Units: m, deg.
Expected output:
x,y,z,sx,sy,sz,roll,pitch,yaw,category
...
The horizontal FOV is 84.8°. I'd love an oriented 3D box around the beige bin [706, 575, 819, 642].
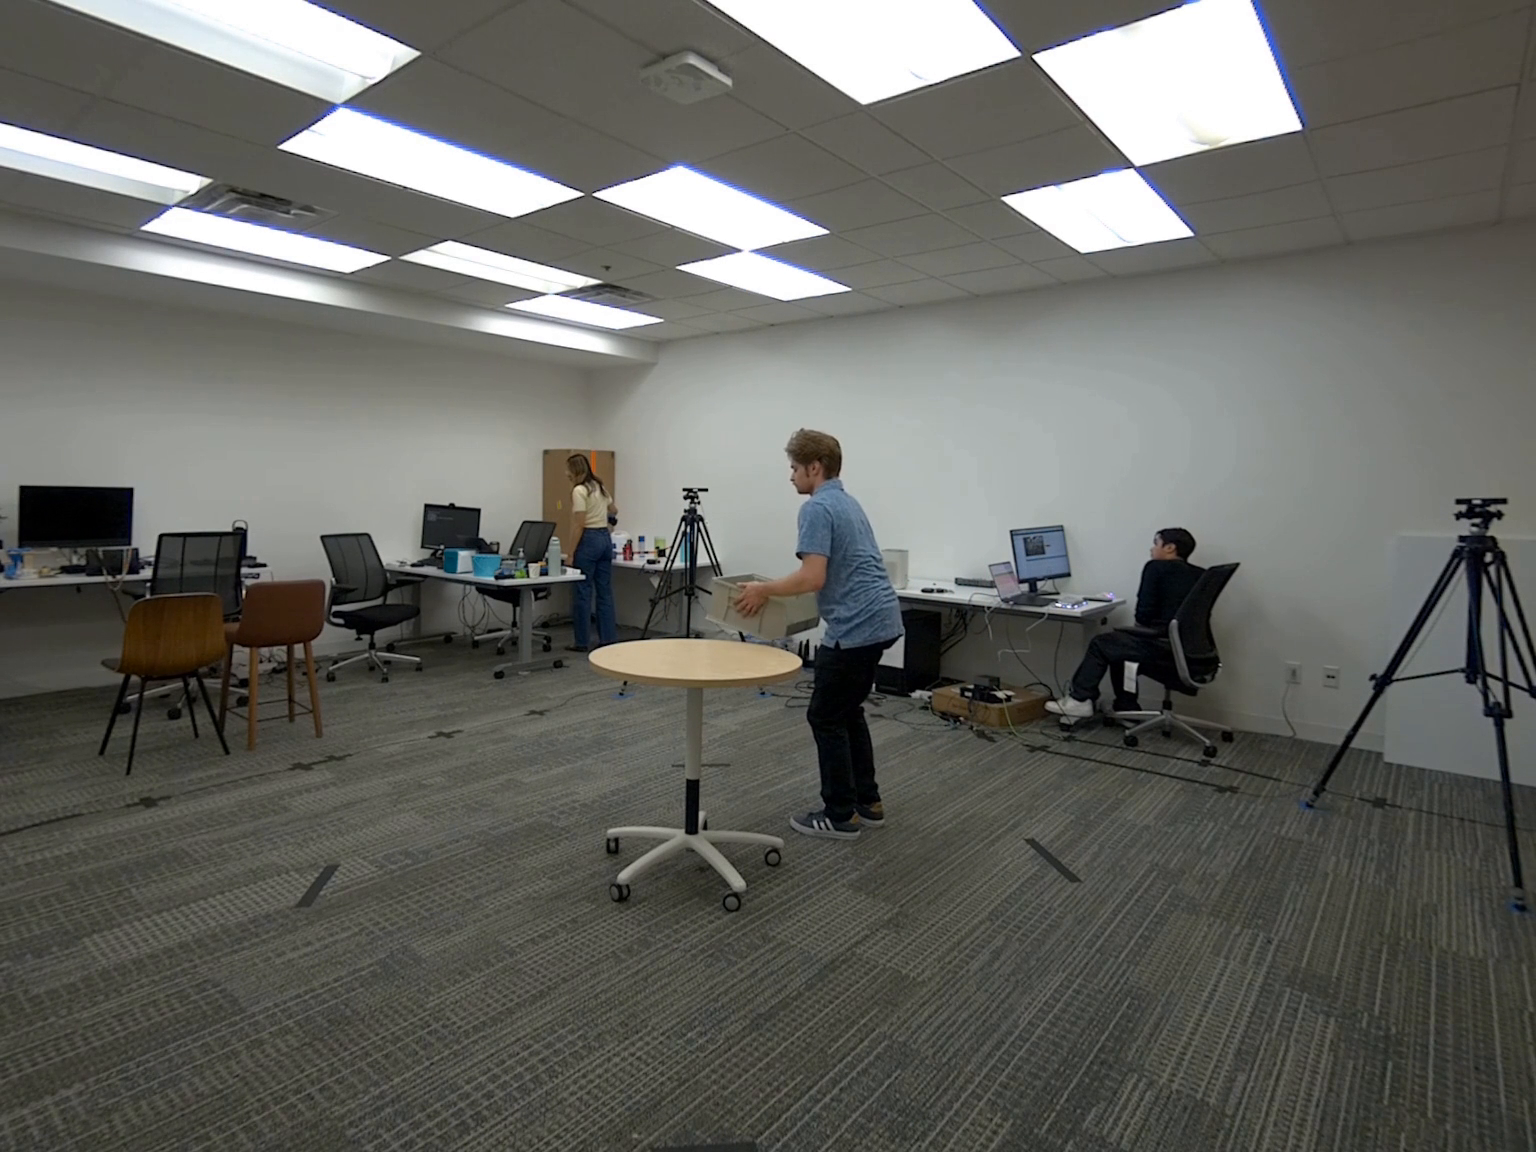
x,y,z,sx,sy,sz,roll,pitch,yaw,category
-0.020,0.130,3.707,0.388,0.188,0.413,15,9,24,beige bin
